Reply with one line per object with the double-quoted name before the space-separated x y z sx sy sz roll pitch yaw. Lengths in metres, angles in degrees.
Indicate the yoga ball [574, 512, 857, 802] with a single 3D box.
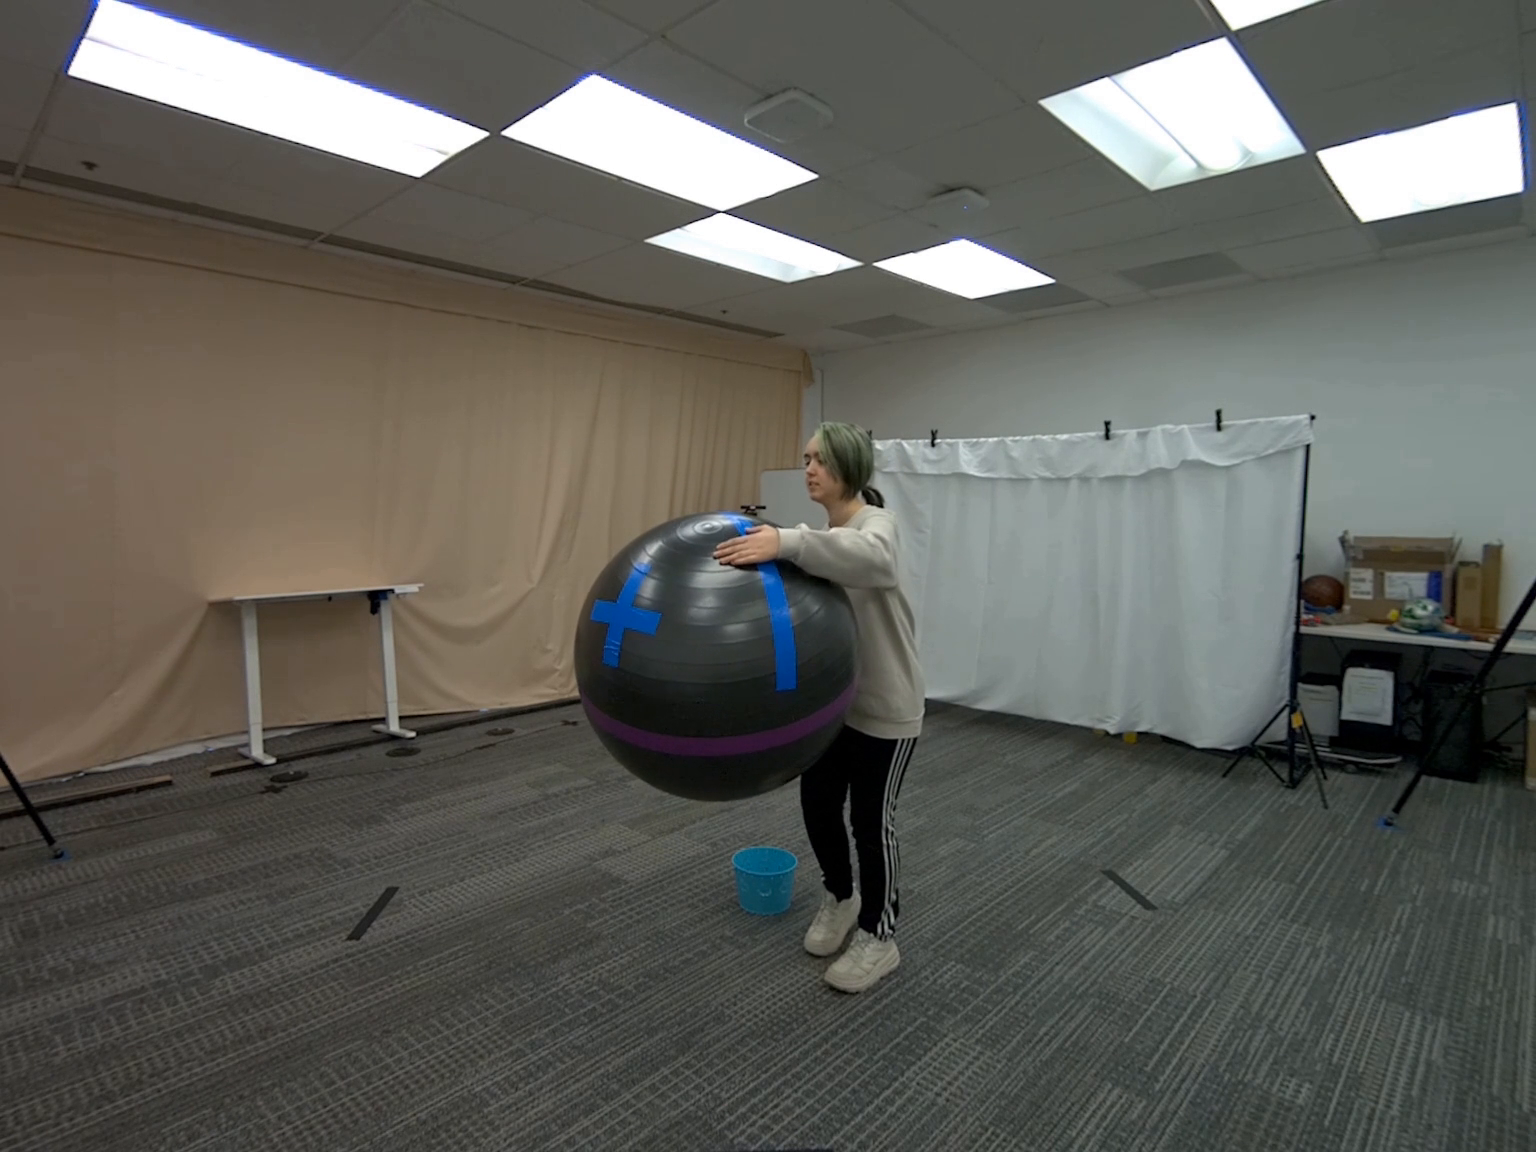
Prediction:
"yoga ball" -0.147 0.223 2.224 0.757 0.756 0.760 0 4 -2
